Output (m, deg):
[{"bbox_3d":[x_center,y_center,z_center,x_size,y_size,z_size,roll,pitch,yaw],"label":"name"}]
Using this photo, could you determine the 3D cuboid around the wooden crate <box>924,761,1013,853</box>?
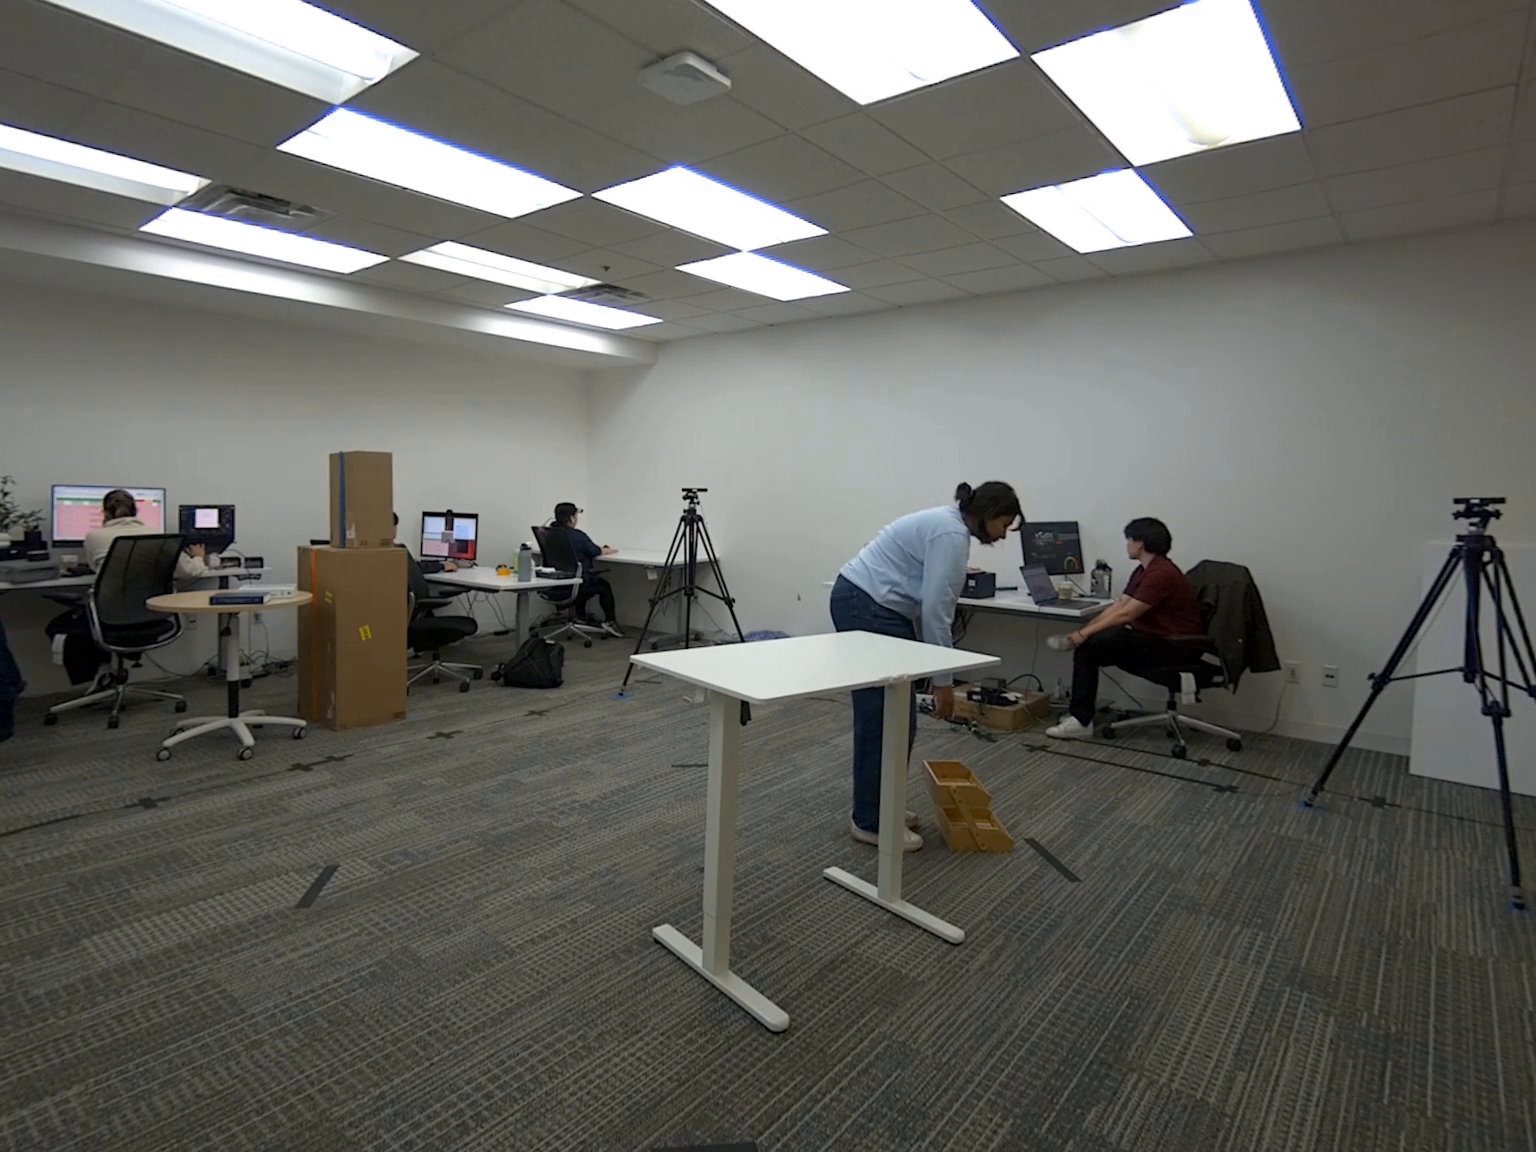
[{"bbox_3d":[0.804,0.925,3.465,0.302,0.272,0.326,0,5,0],"label":"wooden crate"}]
